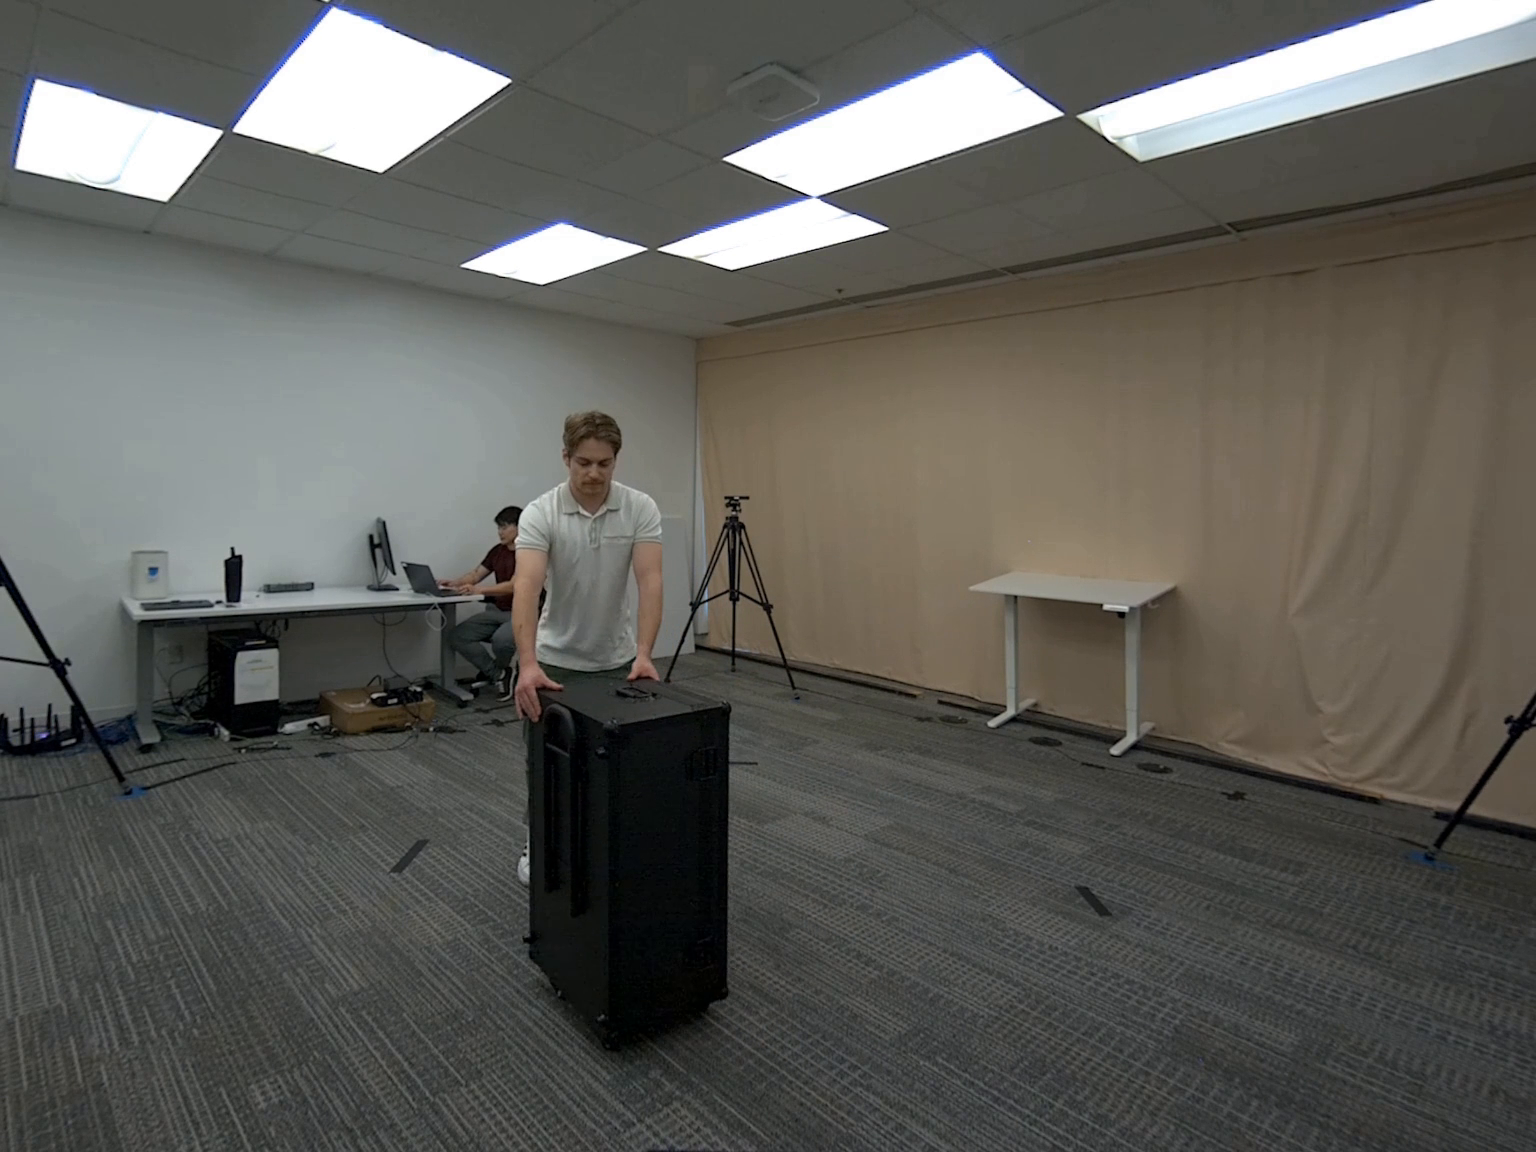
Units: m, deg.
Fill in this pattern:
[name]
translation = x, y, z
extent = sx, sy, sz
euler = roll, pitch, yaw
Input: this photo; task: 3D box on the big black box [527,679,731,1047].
[big black box]
translation = -0.388, 0.754, 2.276
extent = 0.377, 0.866, 0.536
euler = -2, 5, -37
